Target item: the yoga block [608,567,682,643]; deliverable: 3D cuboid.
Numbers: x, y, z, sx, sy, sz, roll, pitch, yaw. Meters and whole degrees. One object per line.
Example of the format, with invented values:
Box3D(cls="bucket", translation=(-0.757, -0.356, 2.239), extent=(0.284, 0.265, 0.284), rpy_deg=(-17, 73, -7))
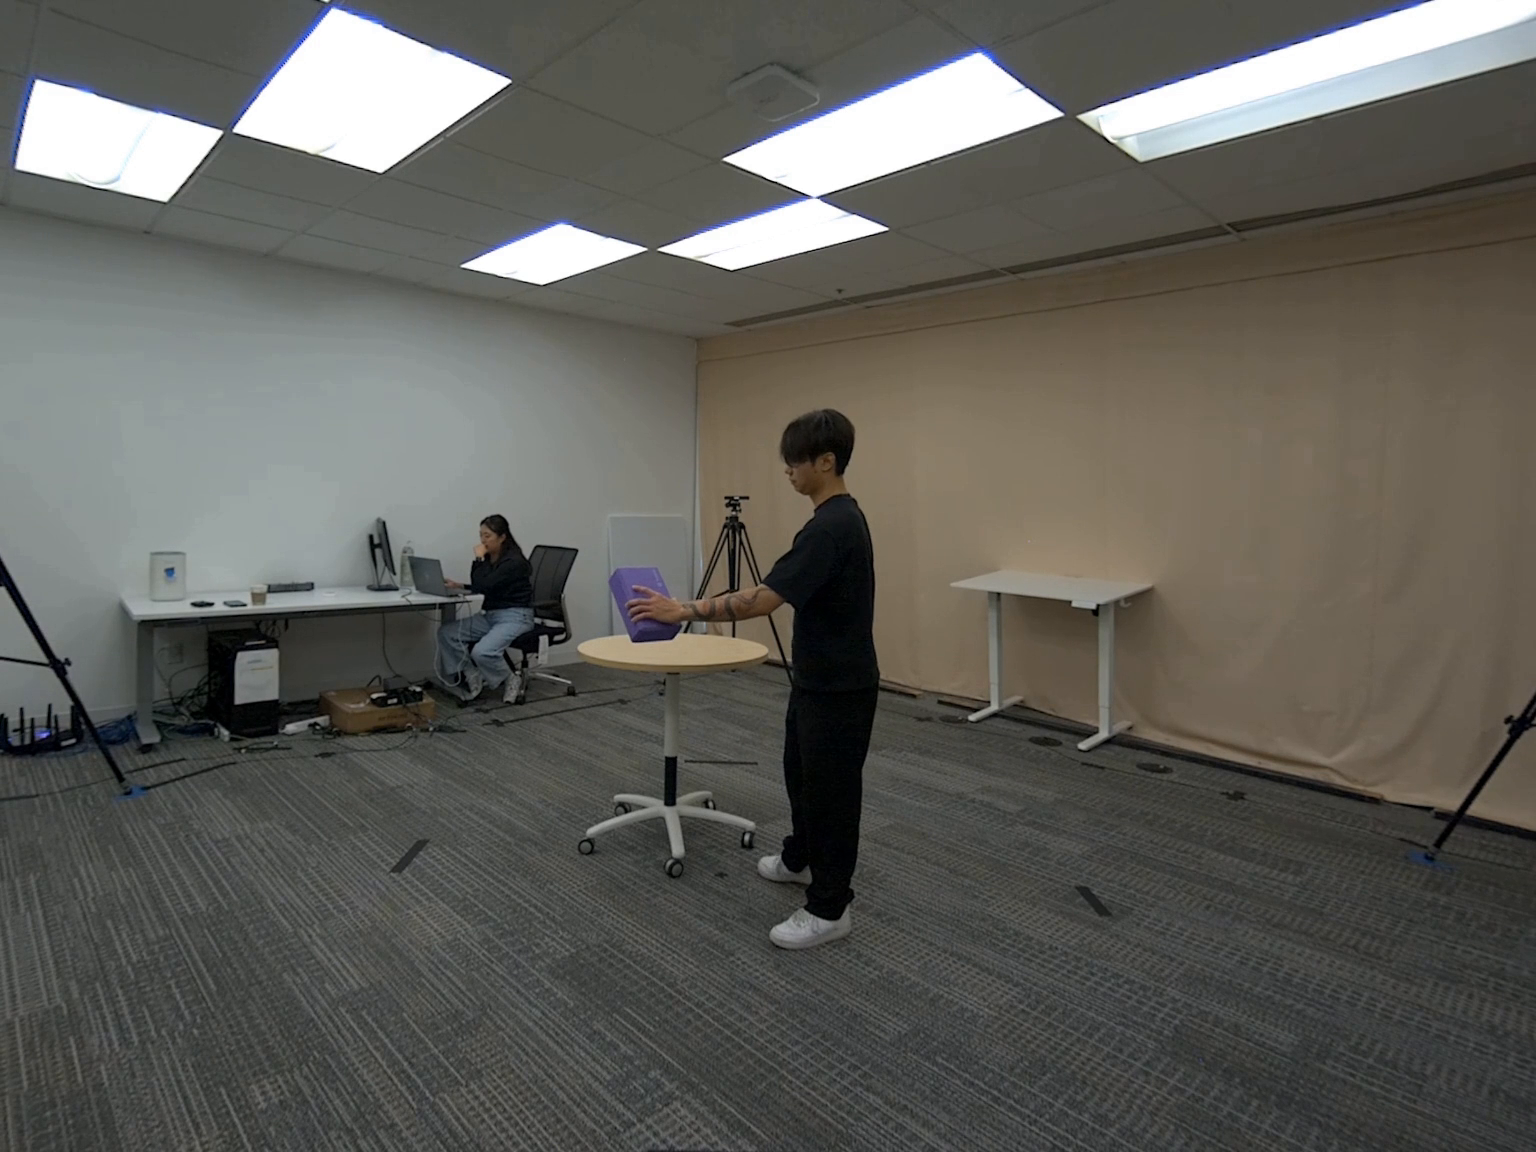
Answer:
Box3D(cls="yoga block", translation=(-0.367, 0.080, 2.500), extent=(0.145, 0.235, 0.076), rpy_deg=(-1, -38, -39))
